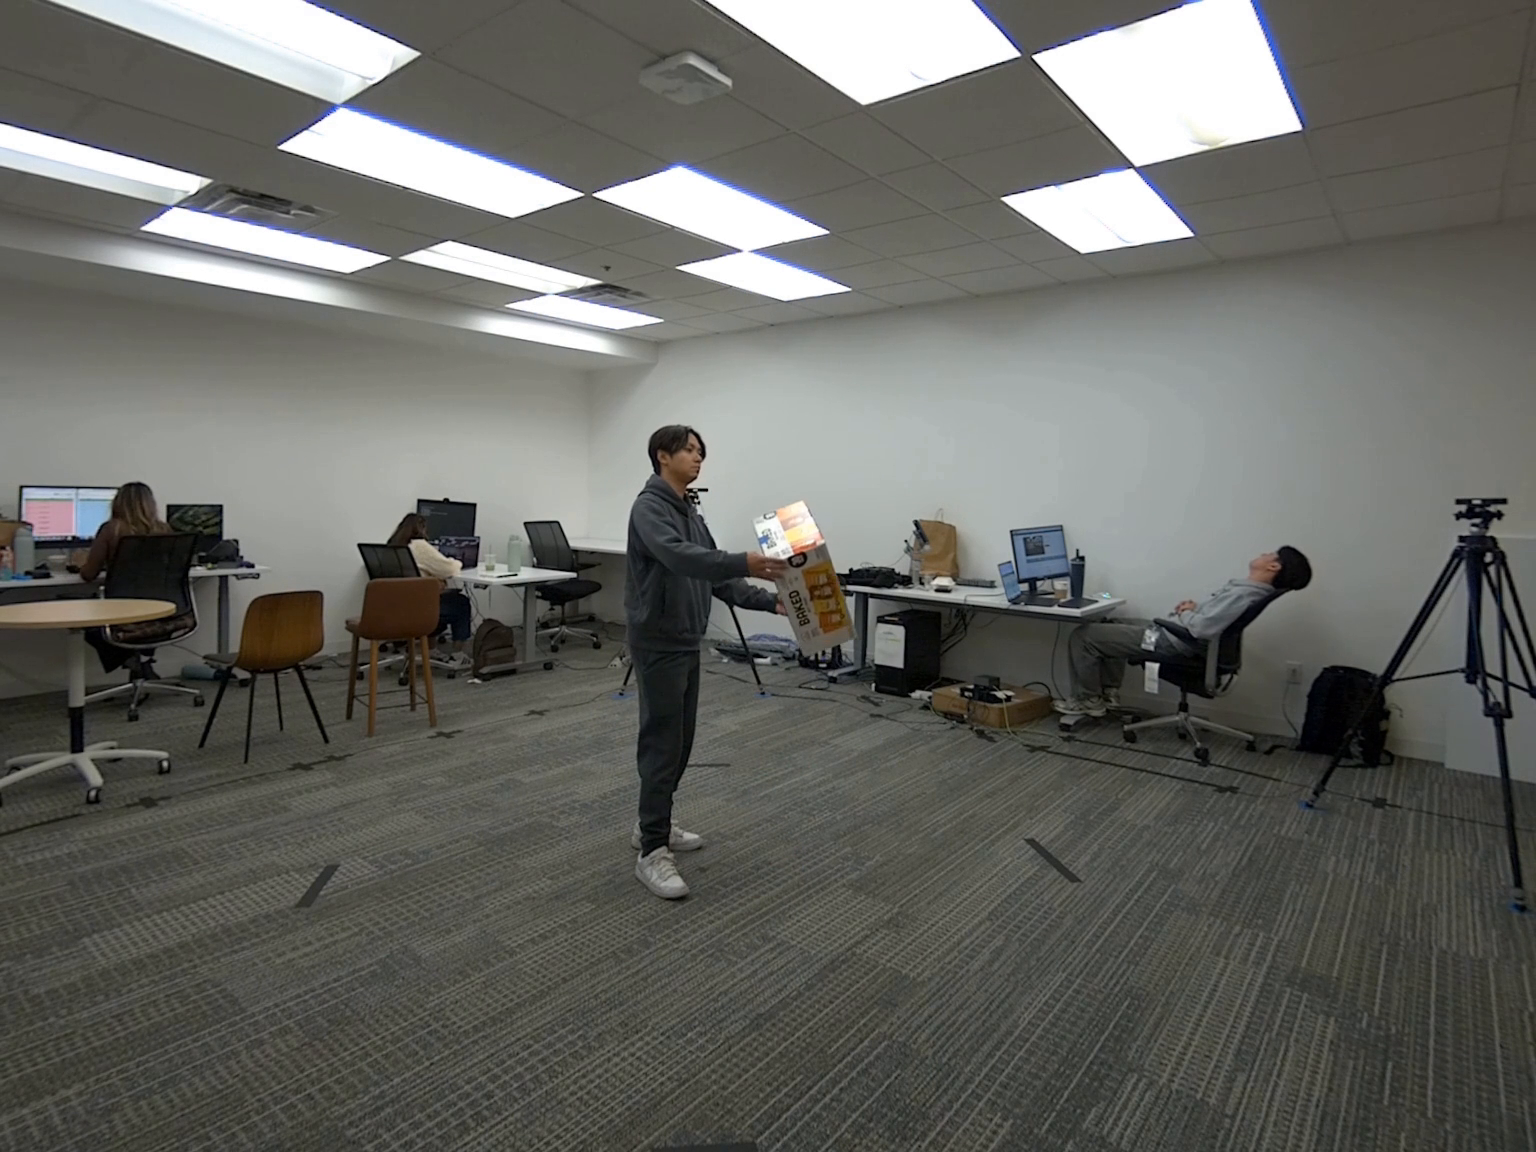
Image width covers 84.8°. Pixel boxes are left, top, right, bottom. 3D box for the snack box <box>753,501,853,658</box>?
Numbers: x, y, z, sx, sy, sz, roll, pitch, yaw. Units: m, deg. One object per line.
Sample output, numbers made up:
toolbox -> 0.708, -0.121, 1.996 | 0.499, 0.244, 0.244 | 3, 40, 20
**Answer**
snack box -> 0.116, -0.001, 3.021 | 0.206, 0.392, 0.351 | -21, 29, 0
